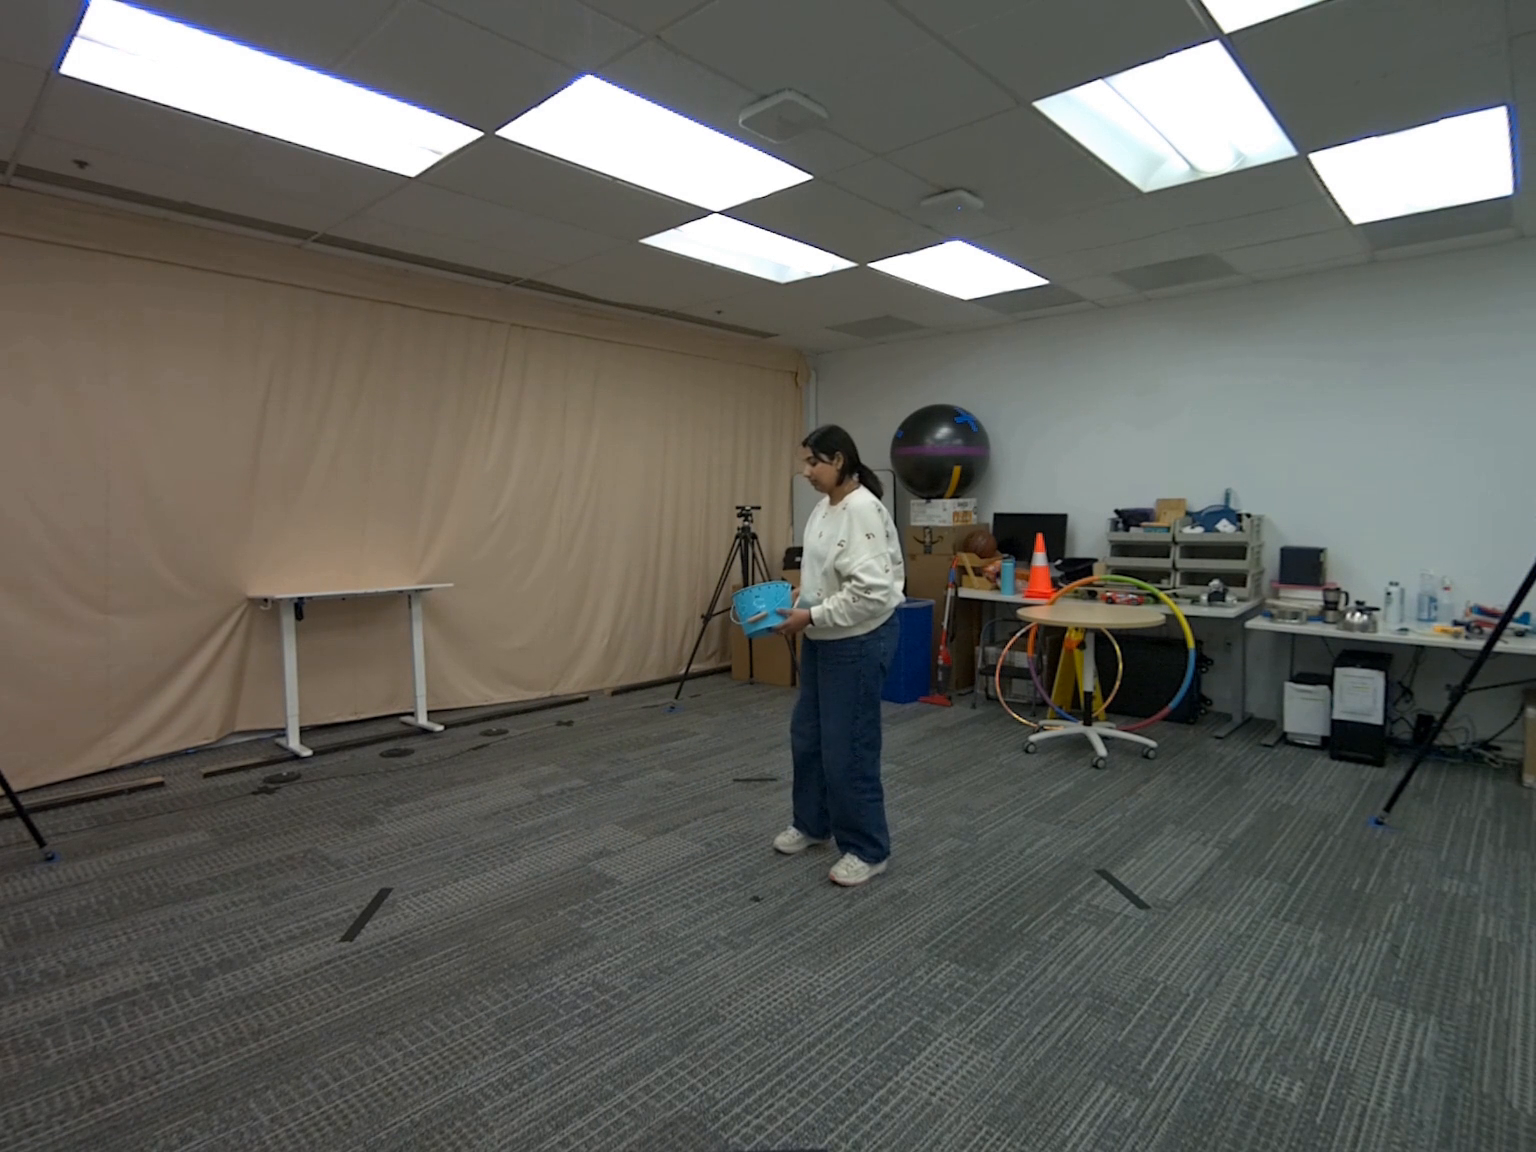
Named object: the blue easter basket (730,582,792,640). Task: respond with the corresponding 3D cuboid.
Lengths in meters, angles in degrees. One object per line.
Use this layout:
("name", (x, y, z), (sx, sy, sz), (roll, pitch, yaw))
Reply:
("blue easter basket", (-0.015, 0.135, 3.088), (0.242, 0.158, 0.241), (-11, -17, -5))
